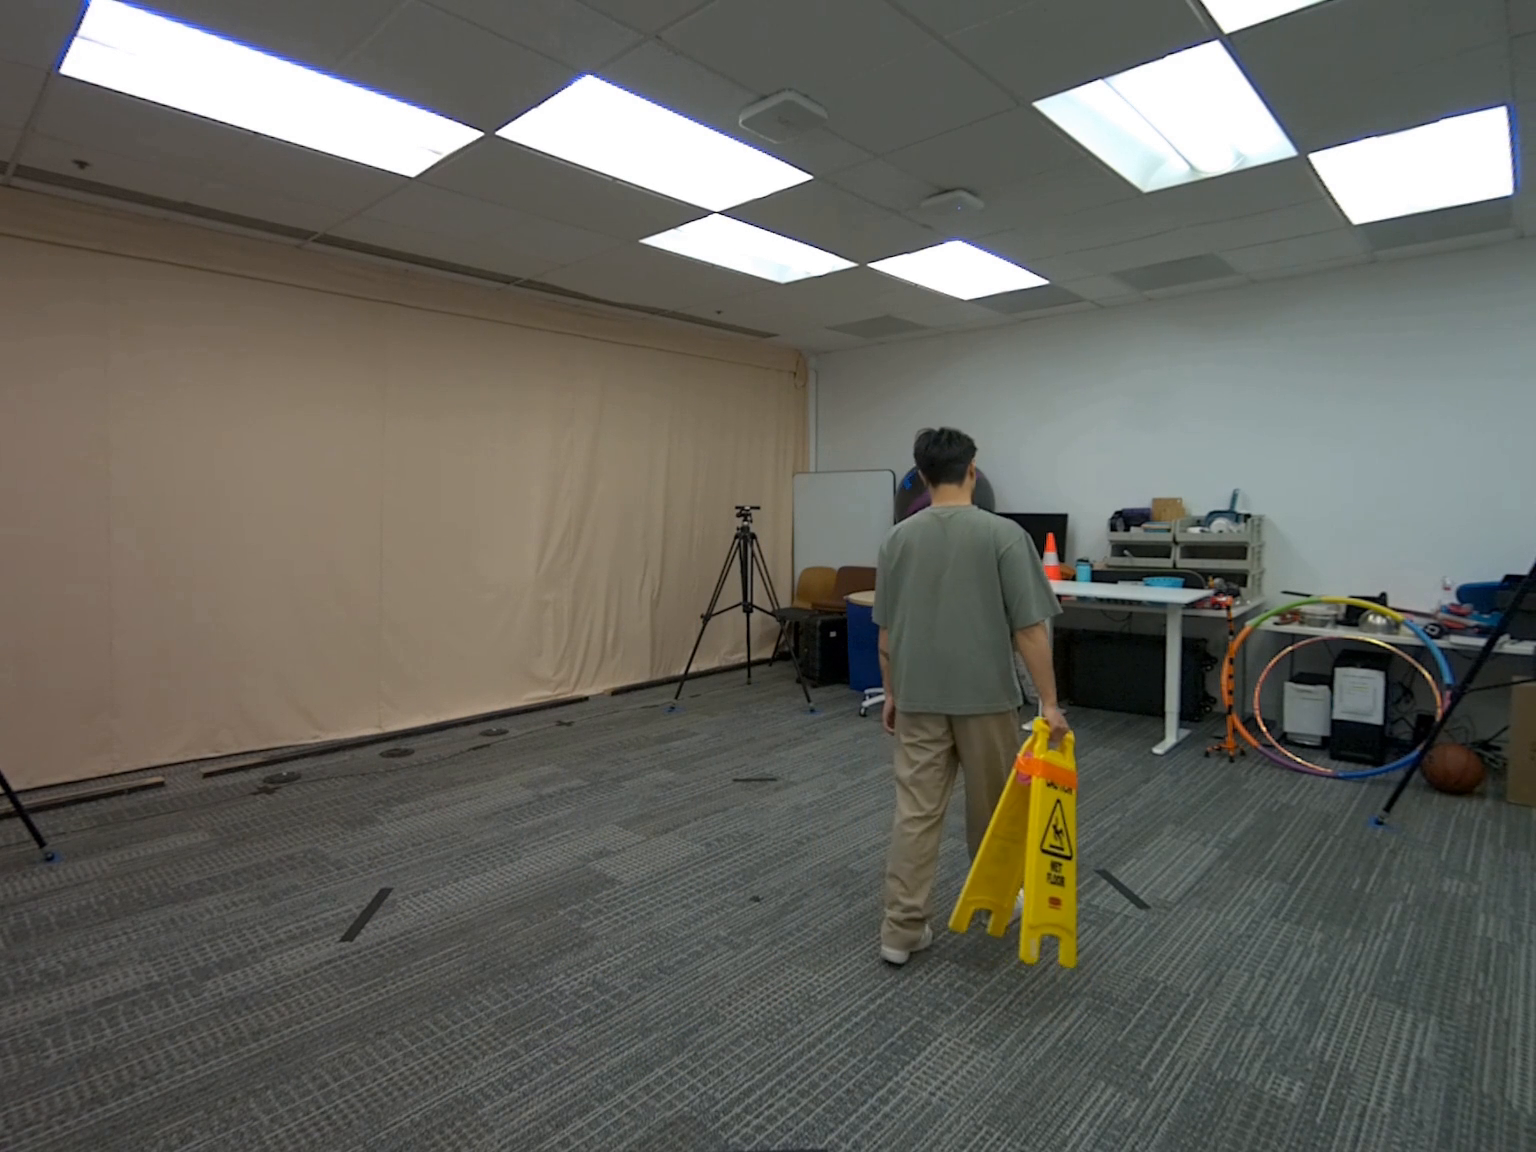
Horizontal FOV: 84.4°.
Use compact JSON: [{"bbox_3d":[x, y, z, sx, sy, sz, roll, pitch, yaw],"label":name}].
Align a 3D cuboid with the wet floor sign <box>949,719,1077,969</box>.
[{"bbox_3d":[0.788,0.745,2.464,0.272,0.649,0.299,24,-16,-36],"label":"wet floor sign"}]
